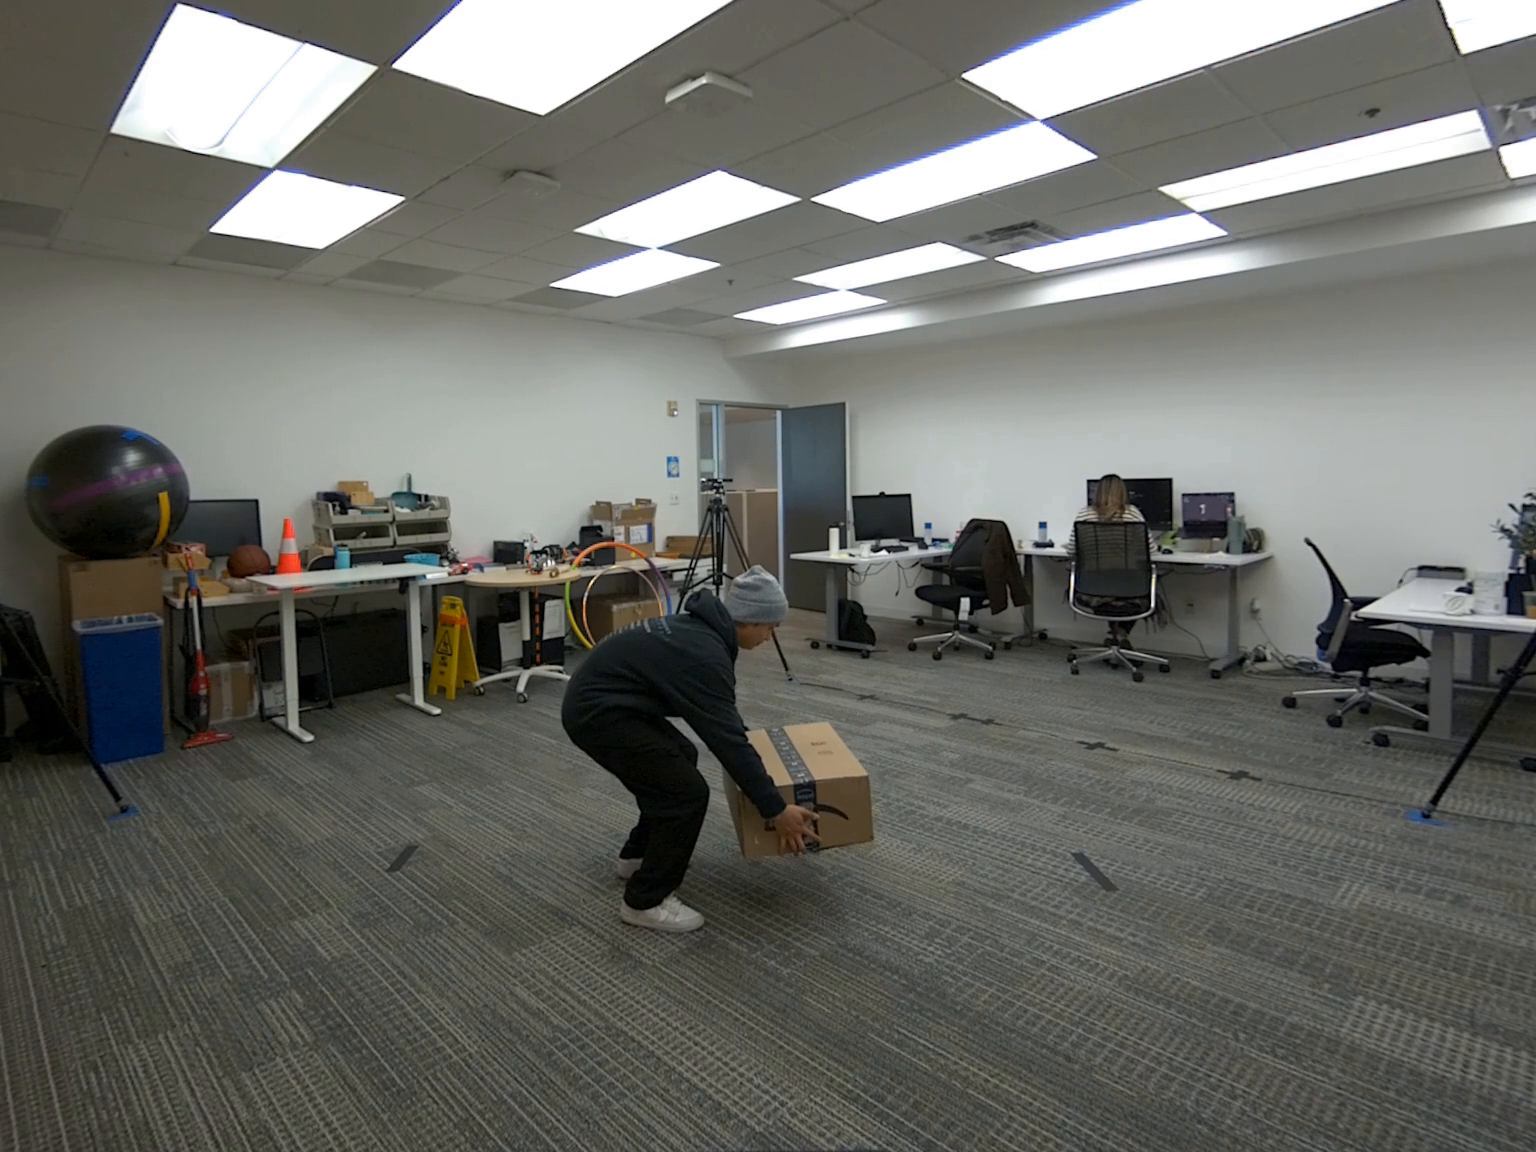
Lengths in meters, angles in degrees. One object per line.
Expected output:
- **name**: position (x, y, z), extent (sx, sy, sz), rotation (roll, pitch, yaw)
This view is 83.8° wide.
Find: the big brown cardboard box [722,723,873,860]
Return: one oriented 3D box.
- **big brown cardboard box**: position (0.077, 0.712, 2.917), extent (0.415, 0.231, 0.597), rotation (-5, 9, -7)
